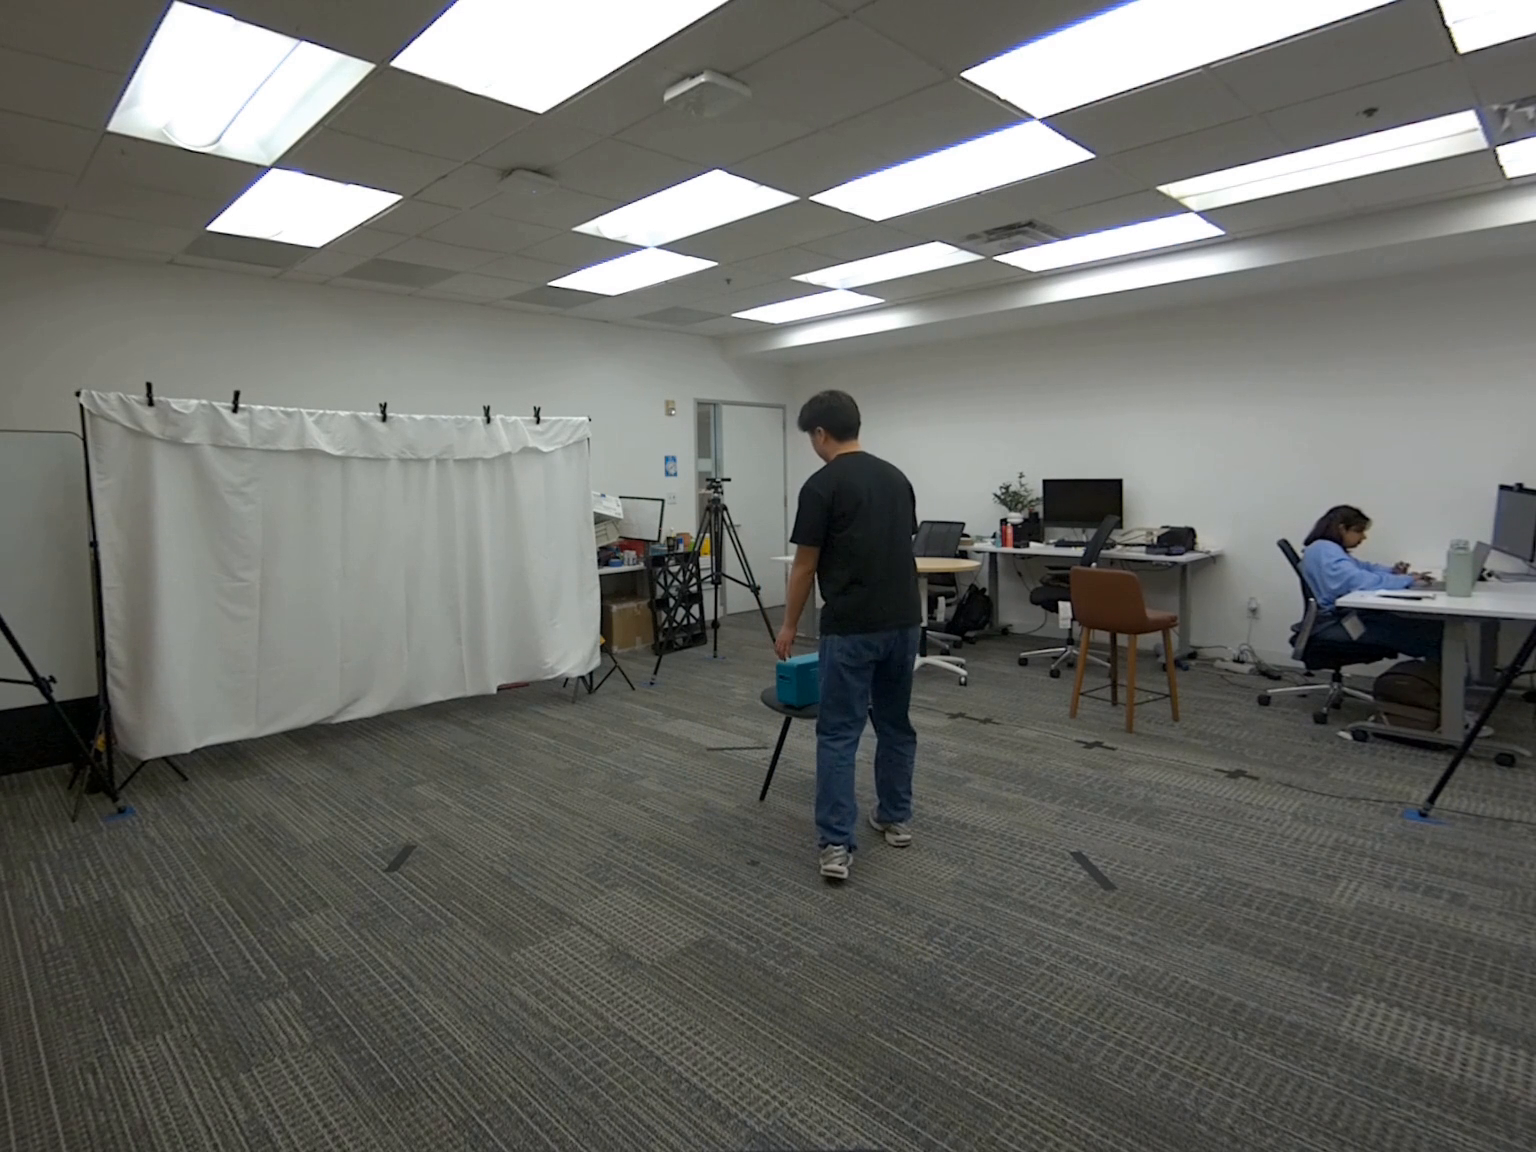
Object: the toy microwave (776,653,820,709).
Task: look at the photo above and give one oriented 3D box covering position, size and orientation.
[{"bbox_3d":[0.173,0.418,3.531,0.279,0.183,0.157,-6,7,-39],"label":"toy microwave"}]
